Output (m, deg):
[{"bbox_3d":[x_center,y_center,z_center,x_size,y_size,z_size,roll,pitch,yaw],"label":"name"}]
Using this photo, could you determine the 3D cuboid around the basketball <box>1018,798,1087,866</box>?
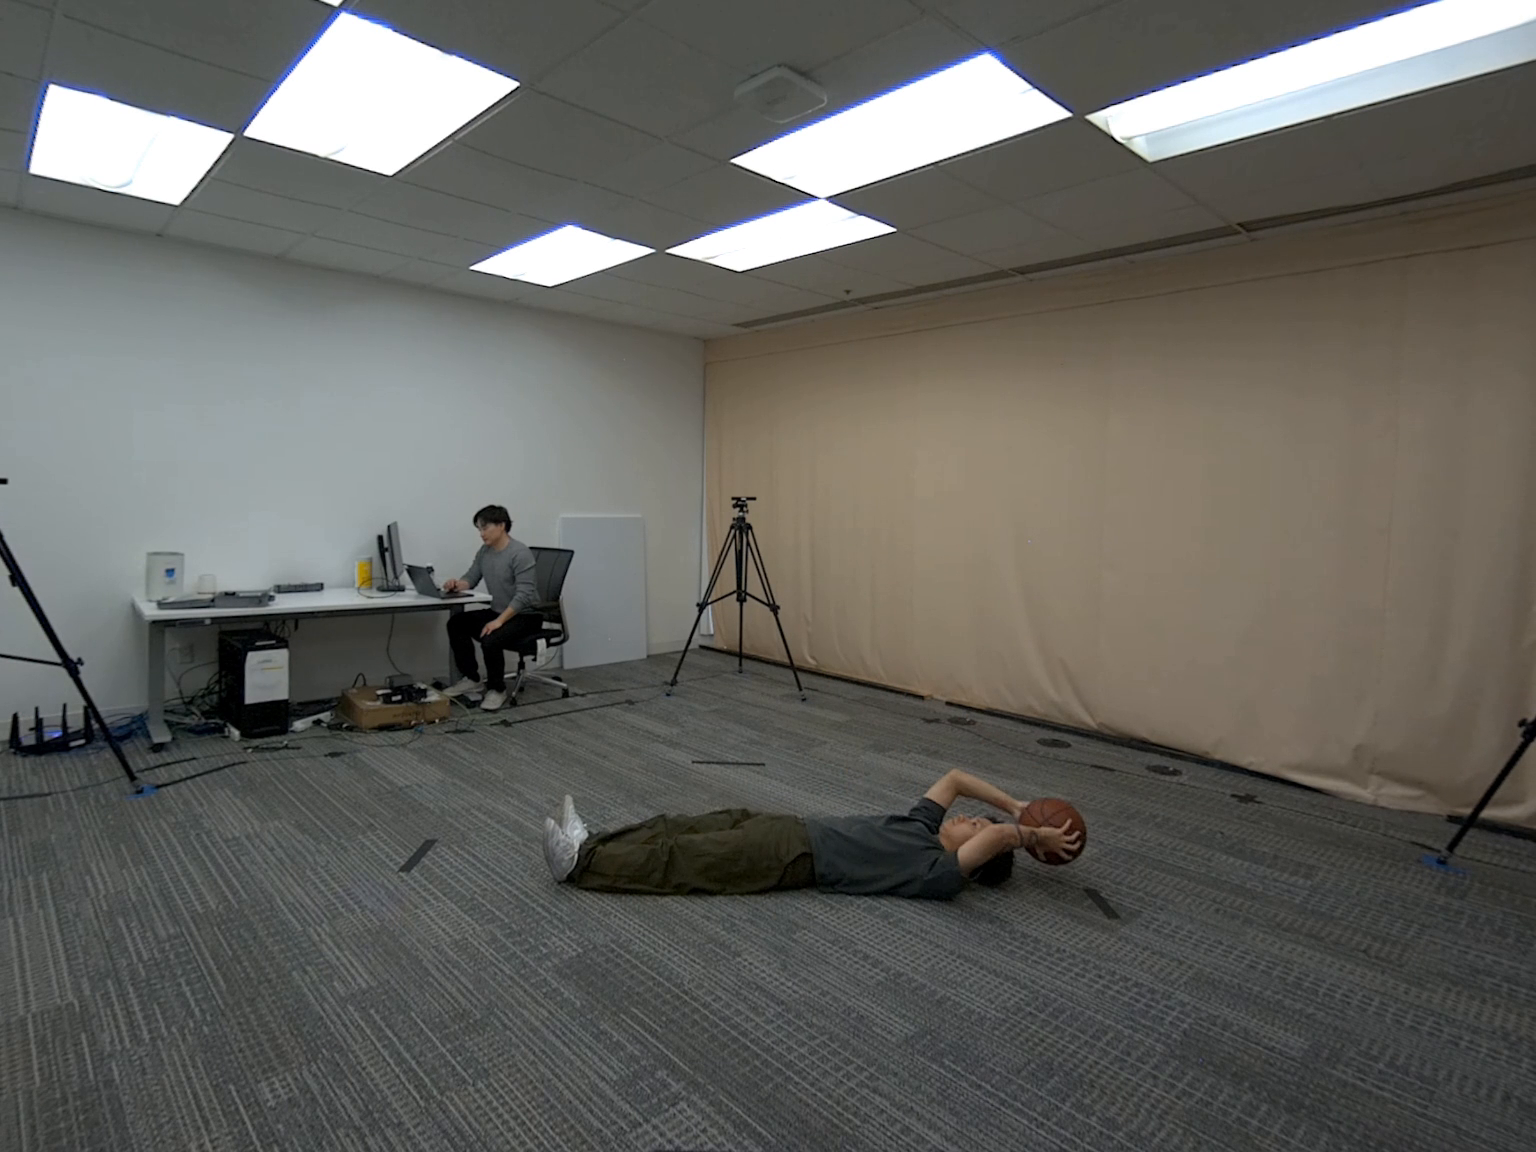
[{"bbox_3d":[1.040,0.933,3.108,0.236,0.235,0.237,1,4,-1],"label":"basketball"}]
